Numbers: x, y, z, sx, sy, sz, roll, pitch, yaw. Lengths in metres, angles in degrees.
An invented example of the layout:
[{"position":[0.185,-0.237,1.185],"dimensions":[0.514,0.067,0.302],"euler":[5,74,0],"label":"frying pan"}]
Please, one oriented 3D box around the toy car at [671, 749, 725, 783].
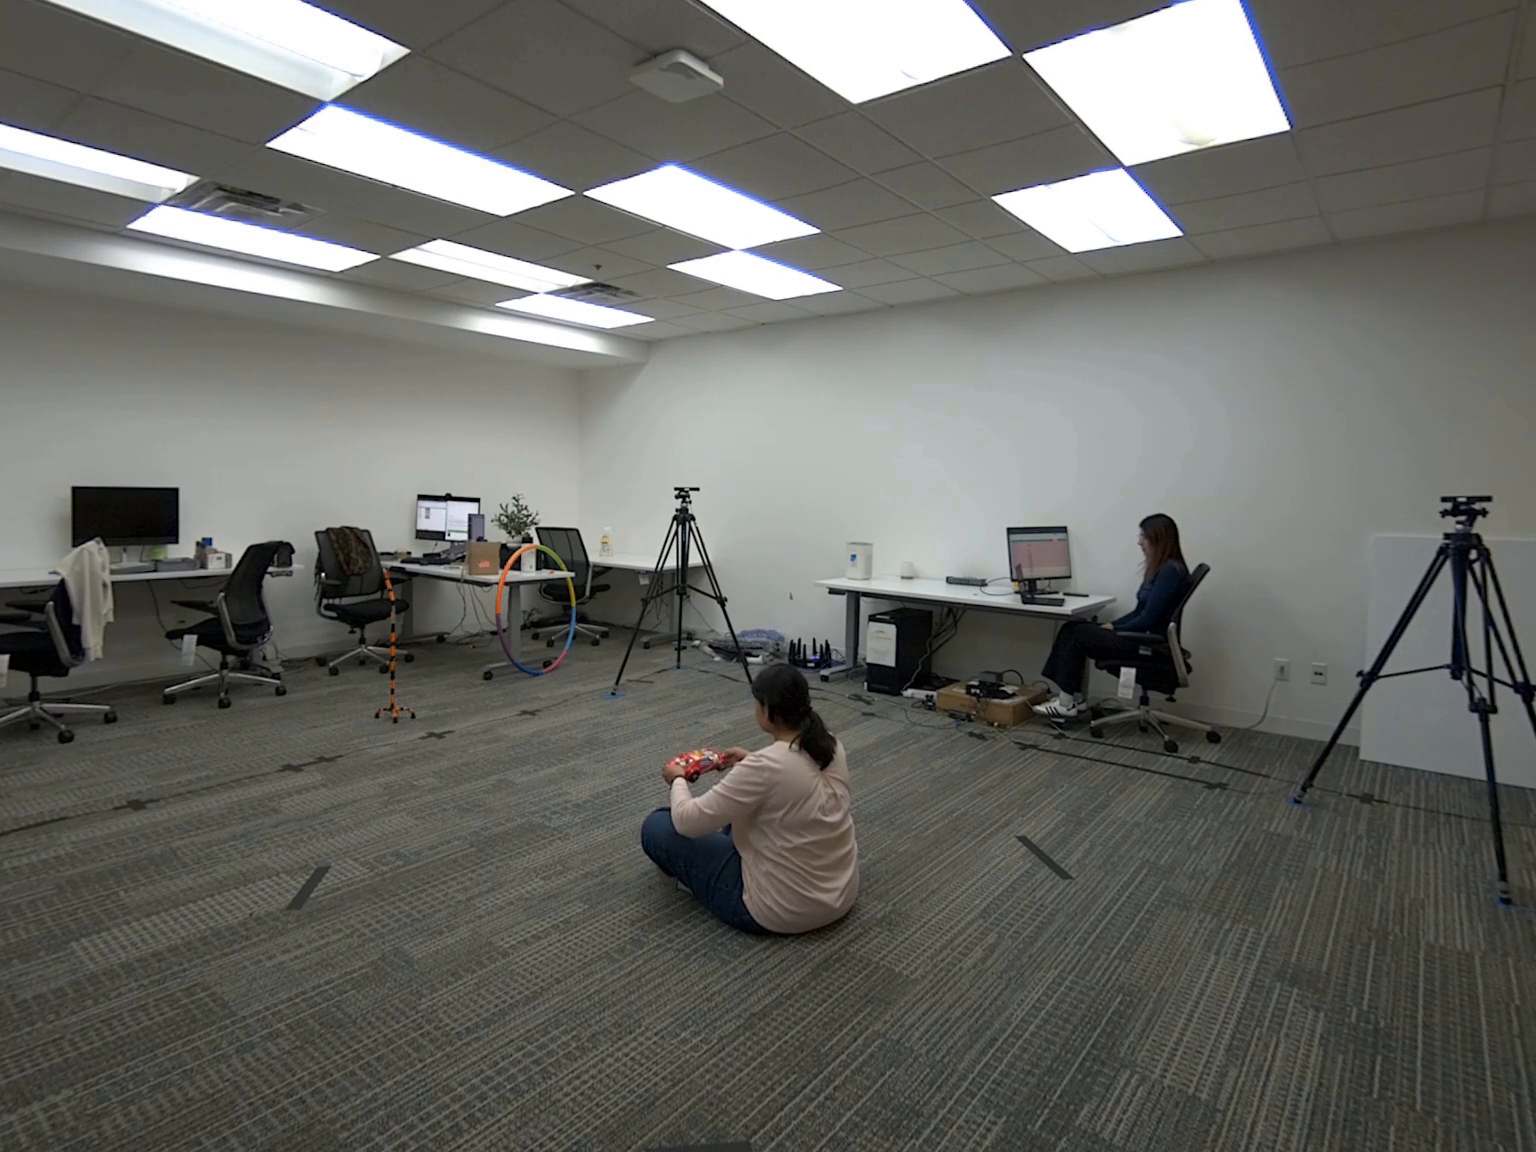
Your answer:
[{"position":[-0.288,0.698,3.163],"dimensions":[0.135,0.083,0.245],"euler":[23,10,40],"label":"toy car"}]
